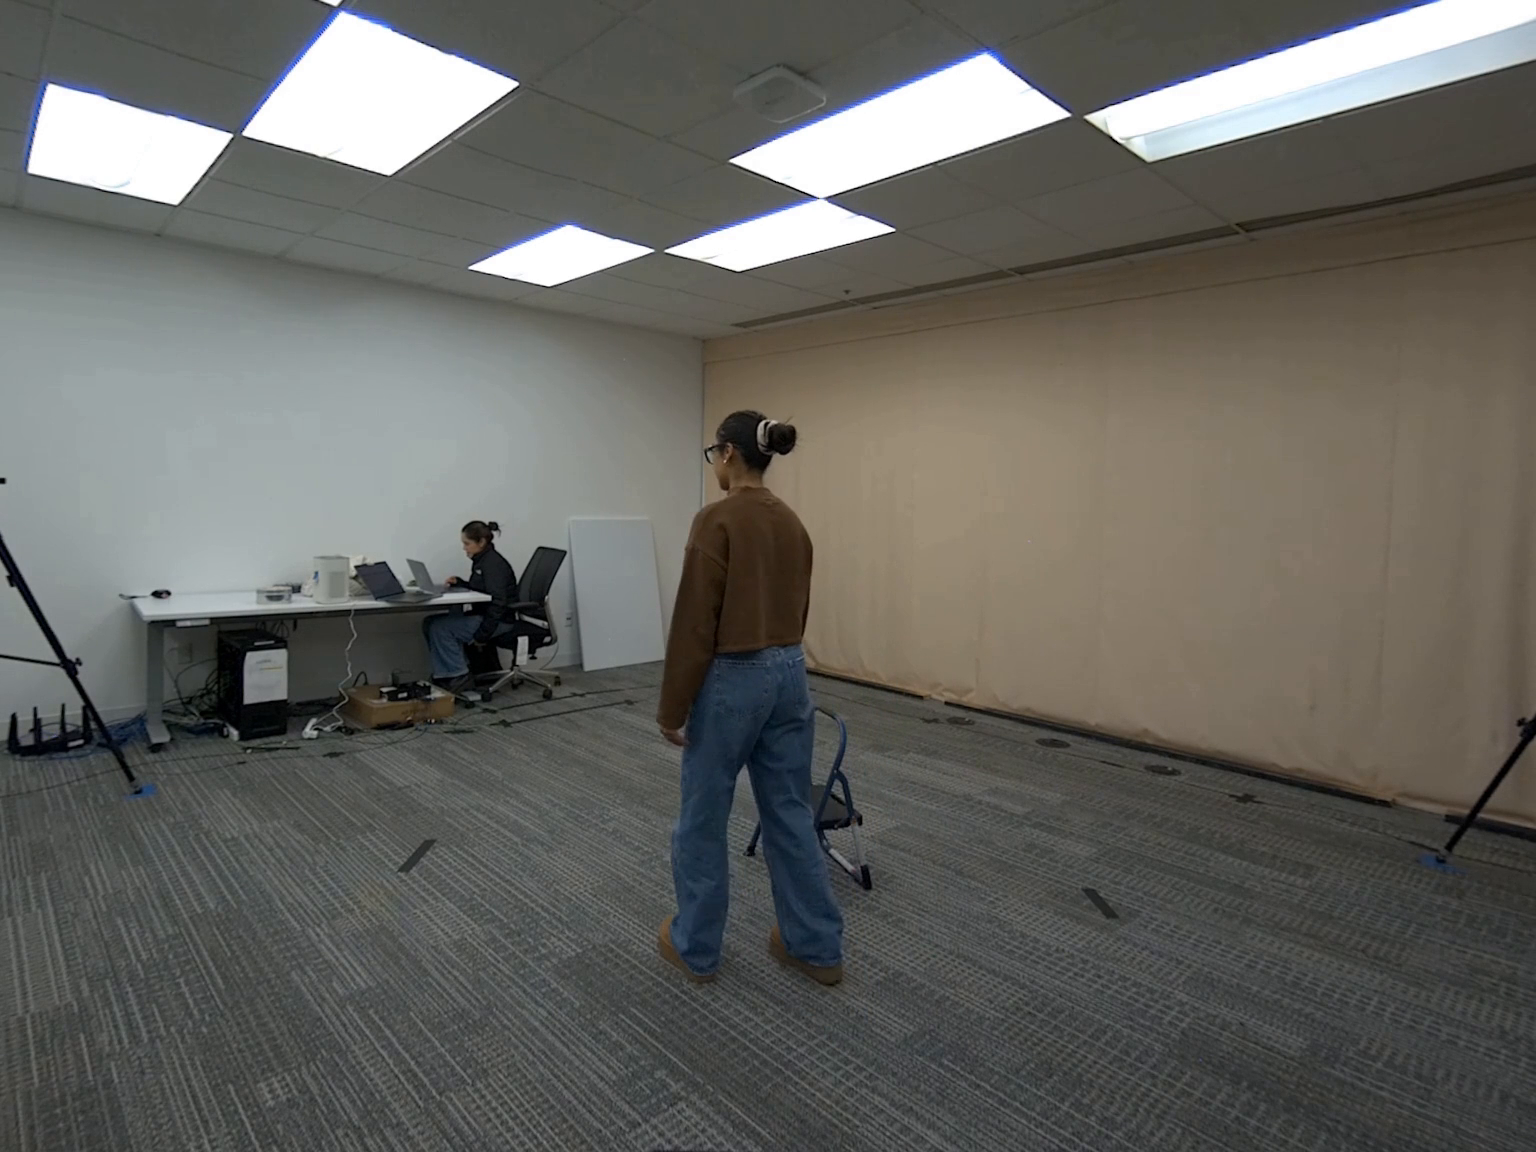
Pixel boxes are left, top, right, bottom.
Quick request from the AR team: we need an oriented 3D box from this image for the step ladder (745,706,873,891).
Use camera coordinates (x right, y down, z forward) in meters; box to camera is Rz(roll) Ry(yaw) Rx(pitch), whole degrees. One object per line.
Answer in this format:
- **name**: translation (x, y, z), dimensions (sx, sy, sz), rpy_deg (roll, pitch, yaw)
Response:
- **step ladder**: translation (0.146, 0.810, 3.139), dimensions (0.344, 0.605, 0.438), rpy_deg (0, 3, -20)
